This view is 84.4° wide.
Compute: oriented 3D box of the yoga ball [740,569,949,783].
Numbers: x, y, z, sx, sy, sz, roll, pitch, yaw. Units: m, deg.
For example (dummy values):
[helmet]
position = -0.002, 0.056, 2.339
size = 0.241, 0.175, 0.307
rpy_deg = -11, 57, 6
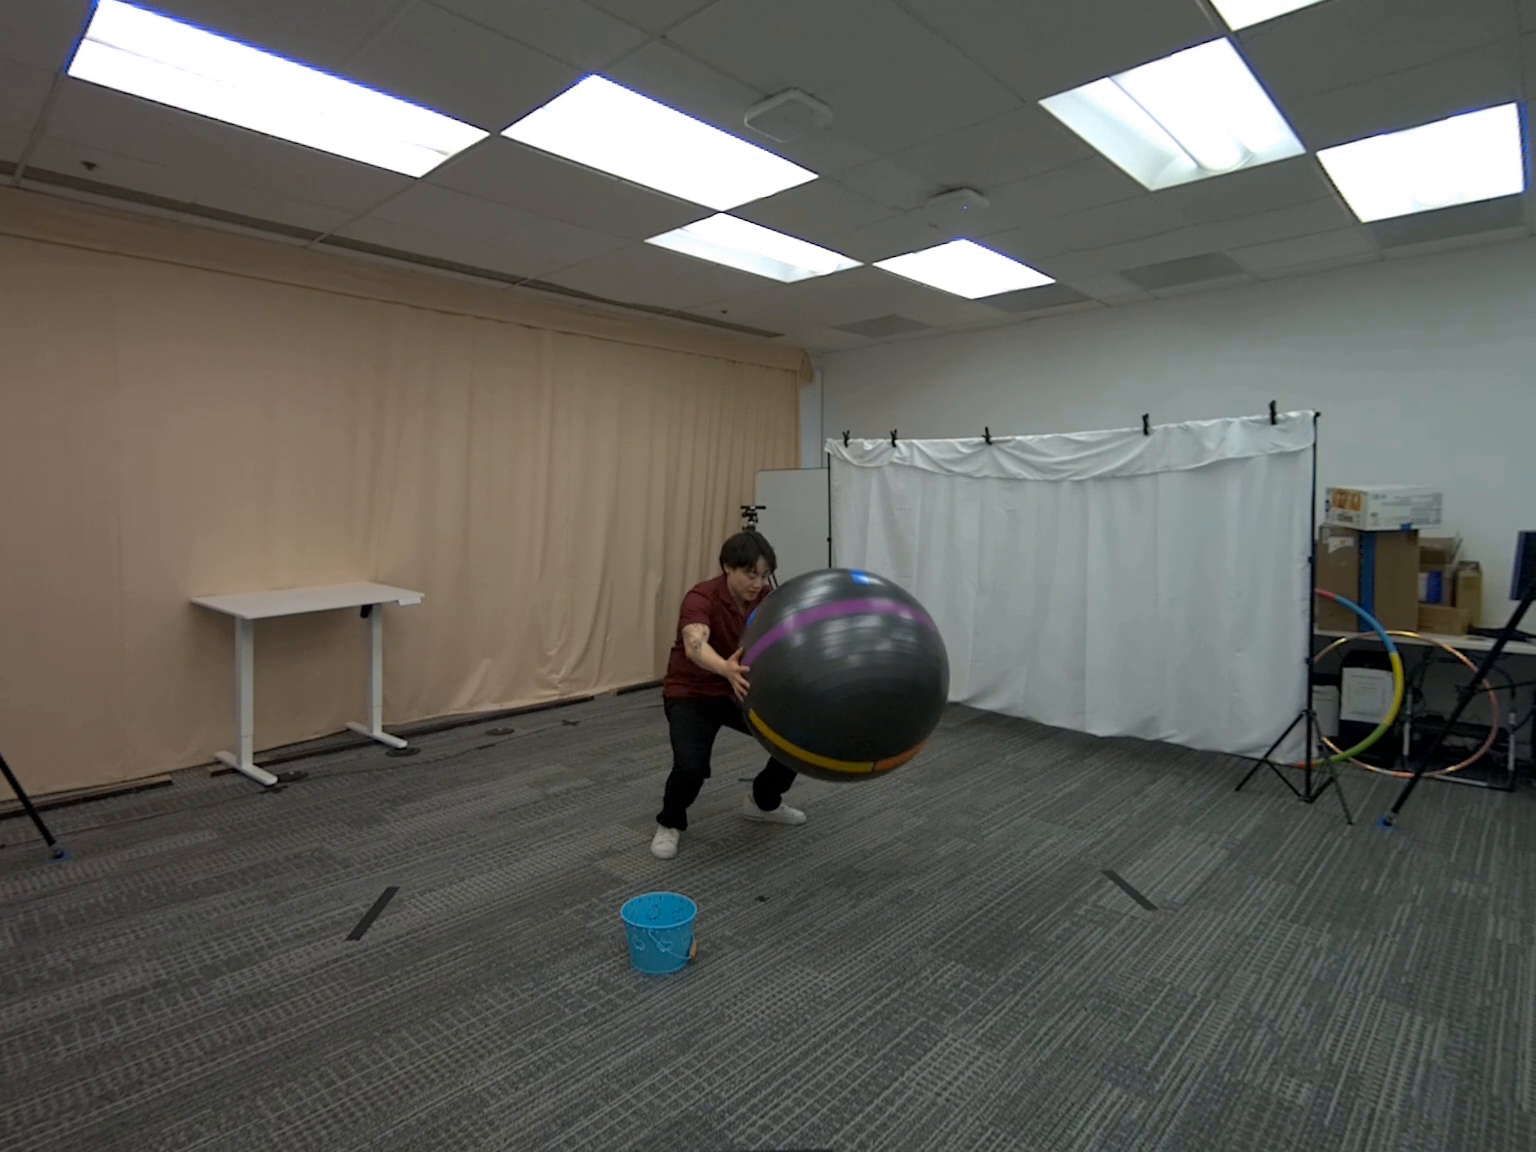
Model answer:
[yoga ball]
position = 0.265, 0.352, 3.024
size = 0.757, 0.756, 0.760
rpy_deg = 0, 4, -2
